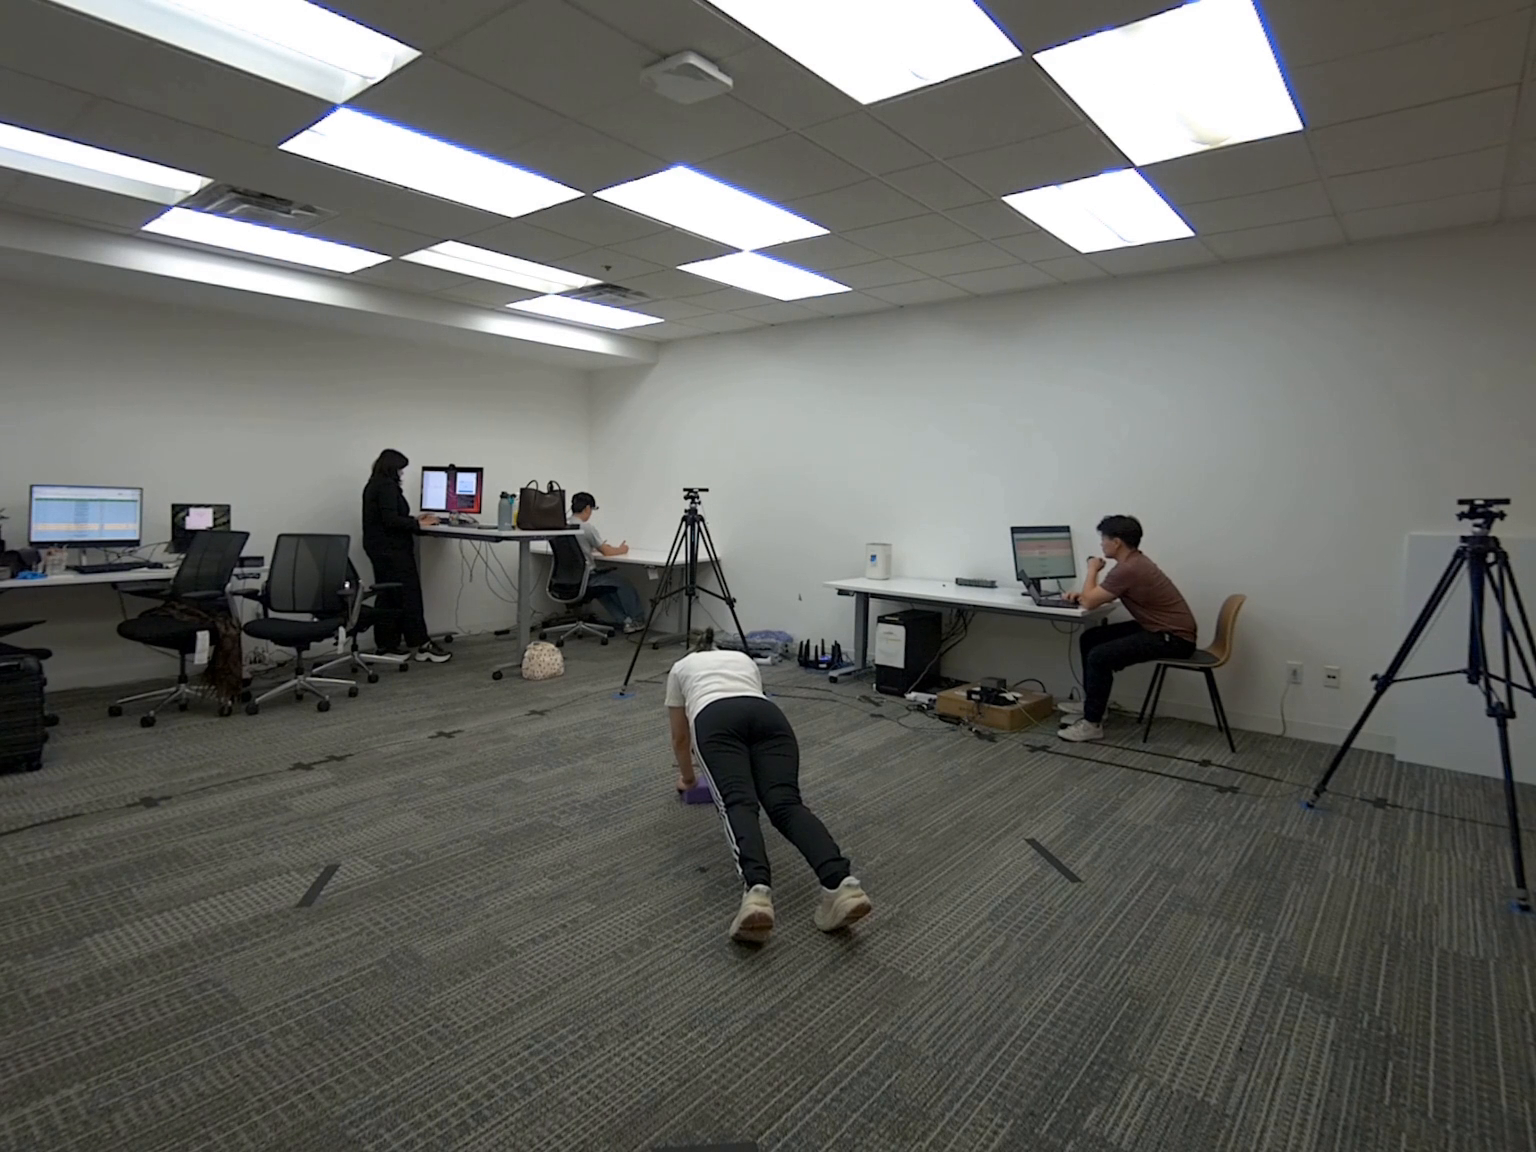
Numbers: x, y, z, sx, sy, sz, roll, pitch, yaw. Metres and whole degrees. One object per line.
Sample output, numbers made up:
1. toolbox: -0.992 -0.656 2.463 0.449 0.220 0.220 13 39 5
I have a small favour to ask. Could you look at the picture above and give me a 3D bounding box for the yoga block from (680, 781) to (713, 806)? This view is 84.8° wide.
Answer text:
1. yoga block: -0.273 0.958 3.837 0.226 0.076 0.152 -2 6 -14
